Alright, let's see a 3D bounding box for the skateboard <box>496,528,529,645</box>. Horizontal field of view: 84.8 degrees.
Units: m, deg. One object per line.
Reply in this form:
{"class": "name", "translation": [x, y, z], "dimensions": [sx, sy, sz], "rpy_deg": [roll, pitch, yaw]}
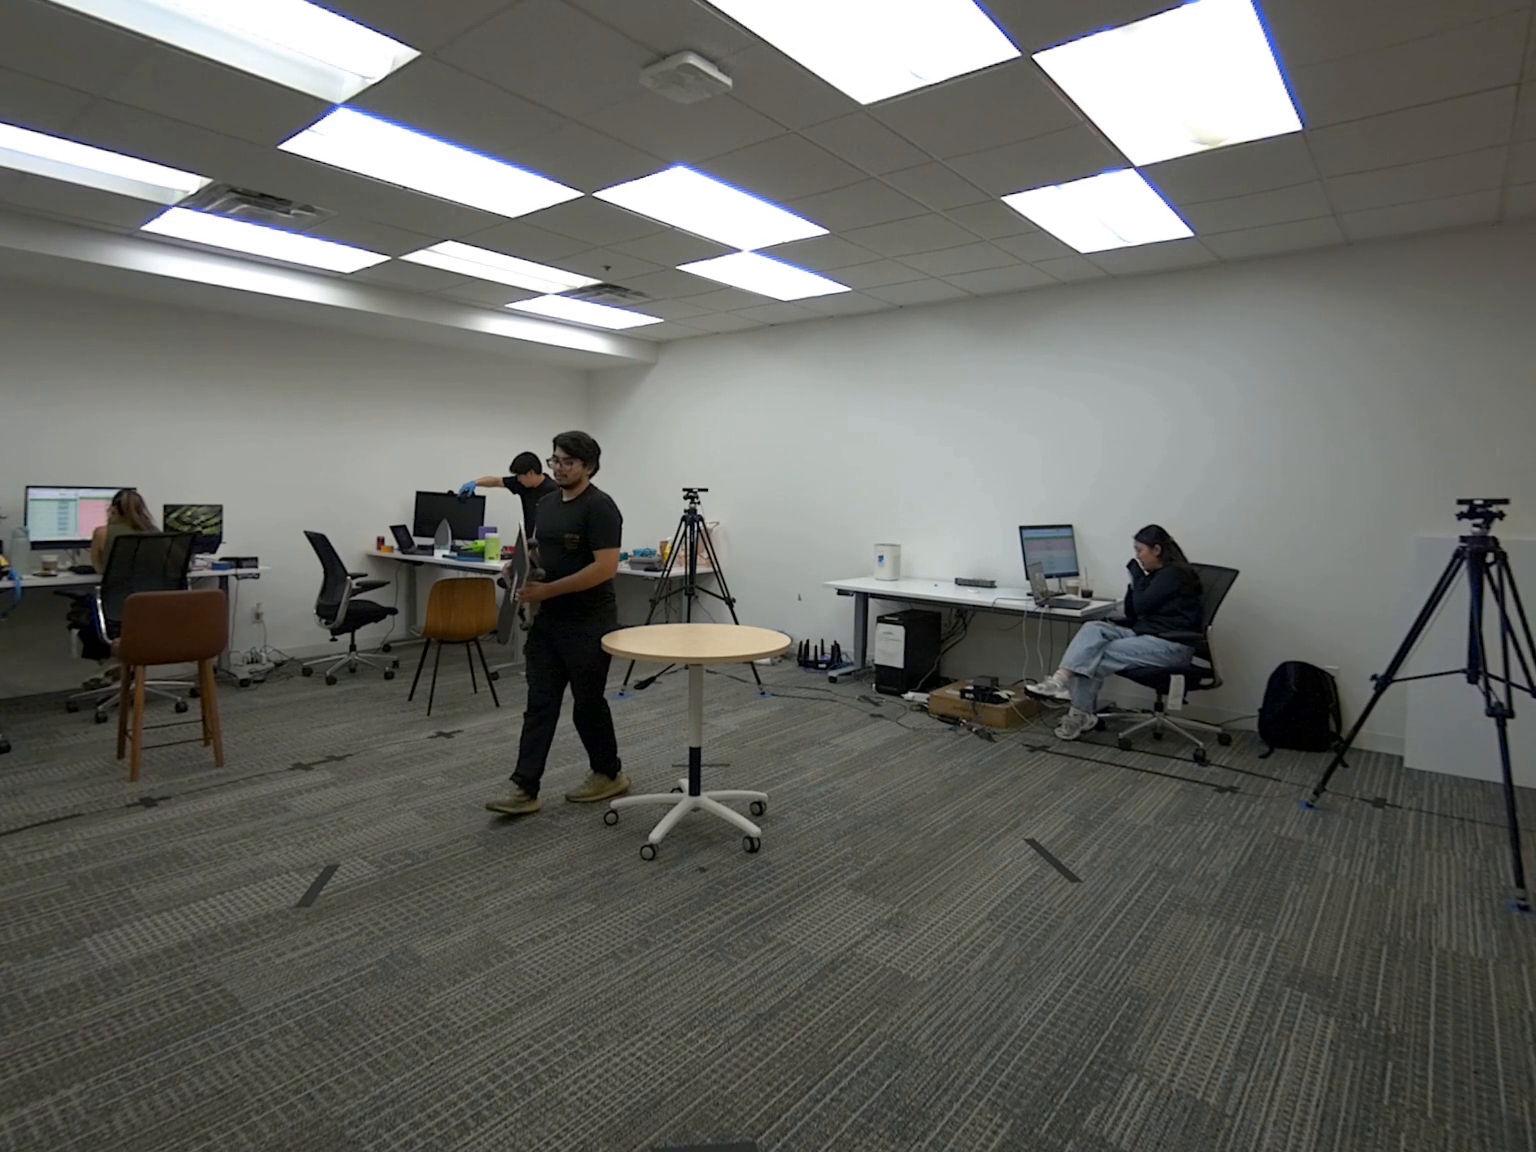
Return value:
{"class": "skateboard", "translation": [-1.066, 0.046, 3.597], "dimensions": [0.108, 0.200, 0.777], "rpy_deg": [-3, -35, -28]}
